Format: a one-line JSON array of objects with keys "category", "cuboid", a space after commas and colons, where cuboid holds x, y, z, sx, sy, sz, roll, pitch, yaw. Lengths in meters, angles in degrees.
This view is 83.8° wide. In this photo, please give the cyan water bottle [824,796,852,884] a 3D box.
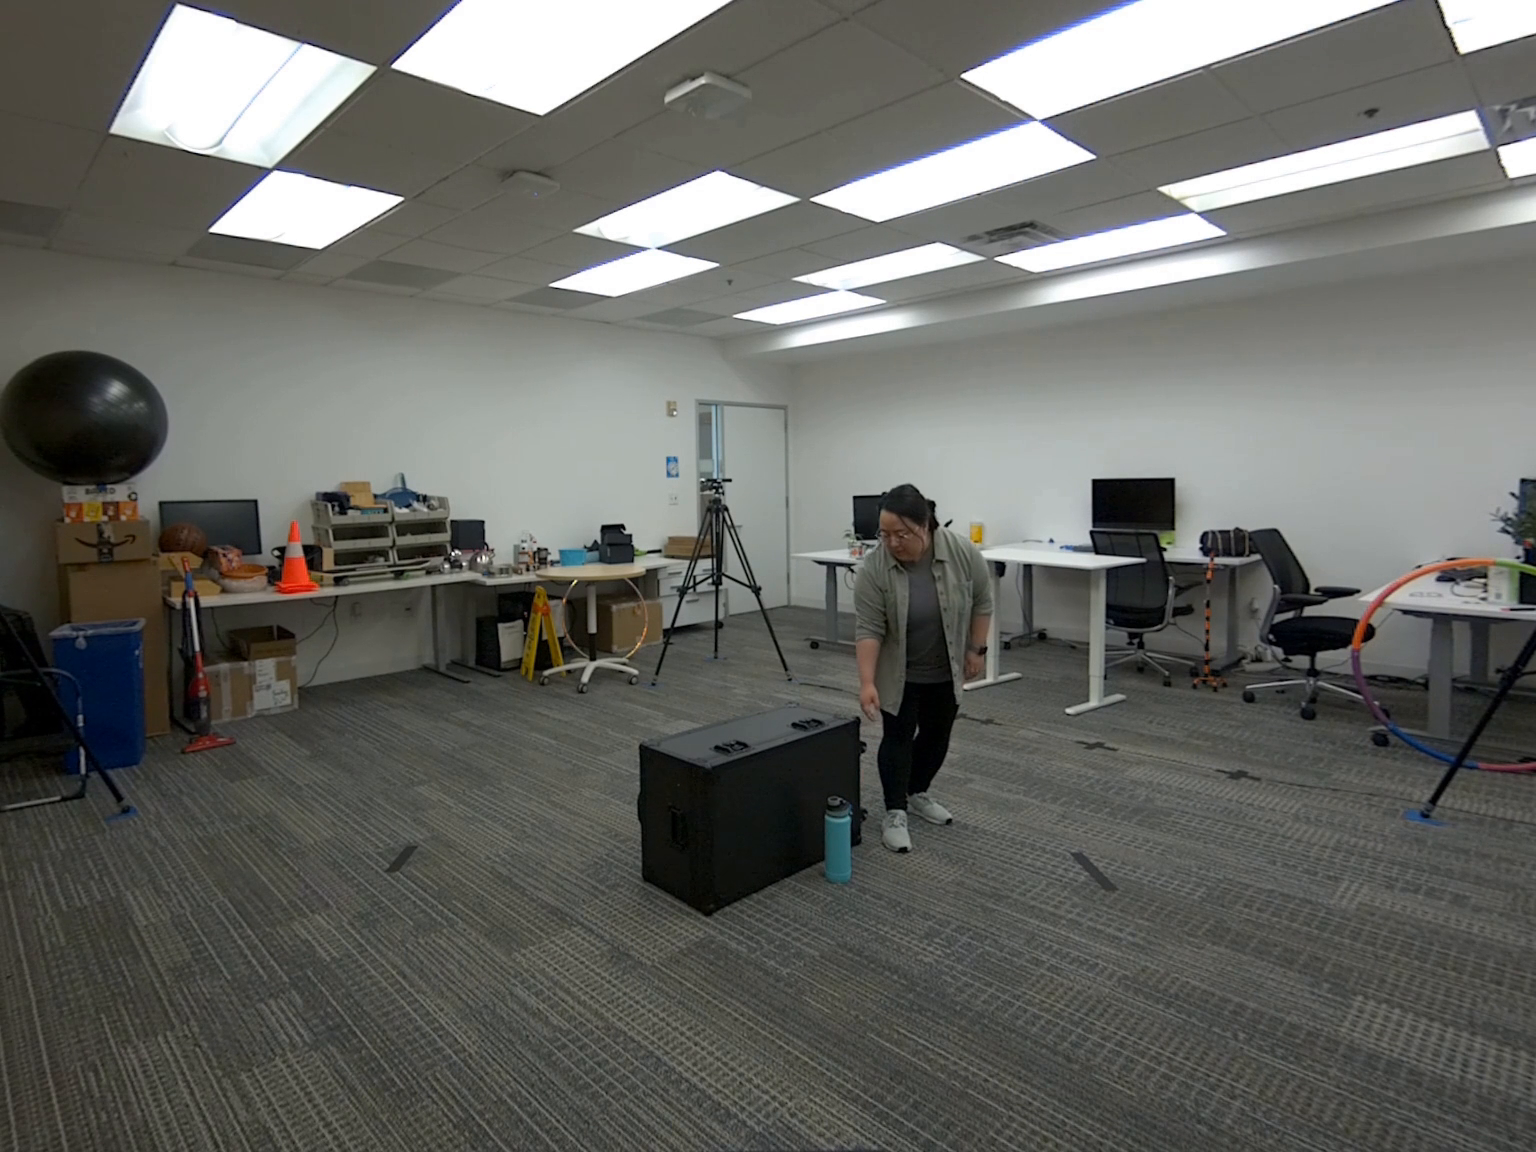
[{"category": "cyan water bottle", "cuboid": [0.233, 0.910, 2.975, 0.092, 0.282, 0.093, 1, 4, -2]}]
